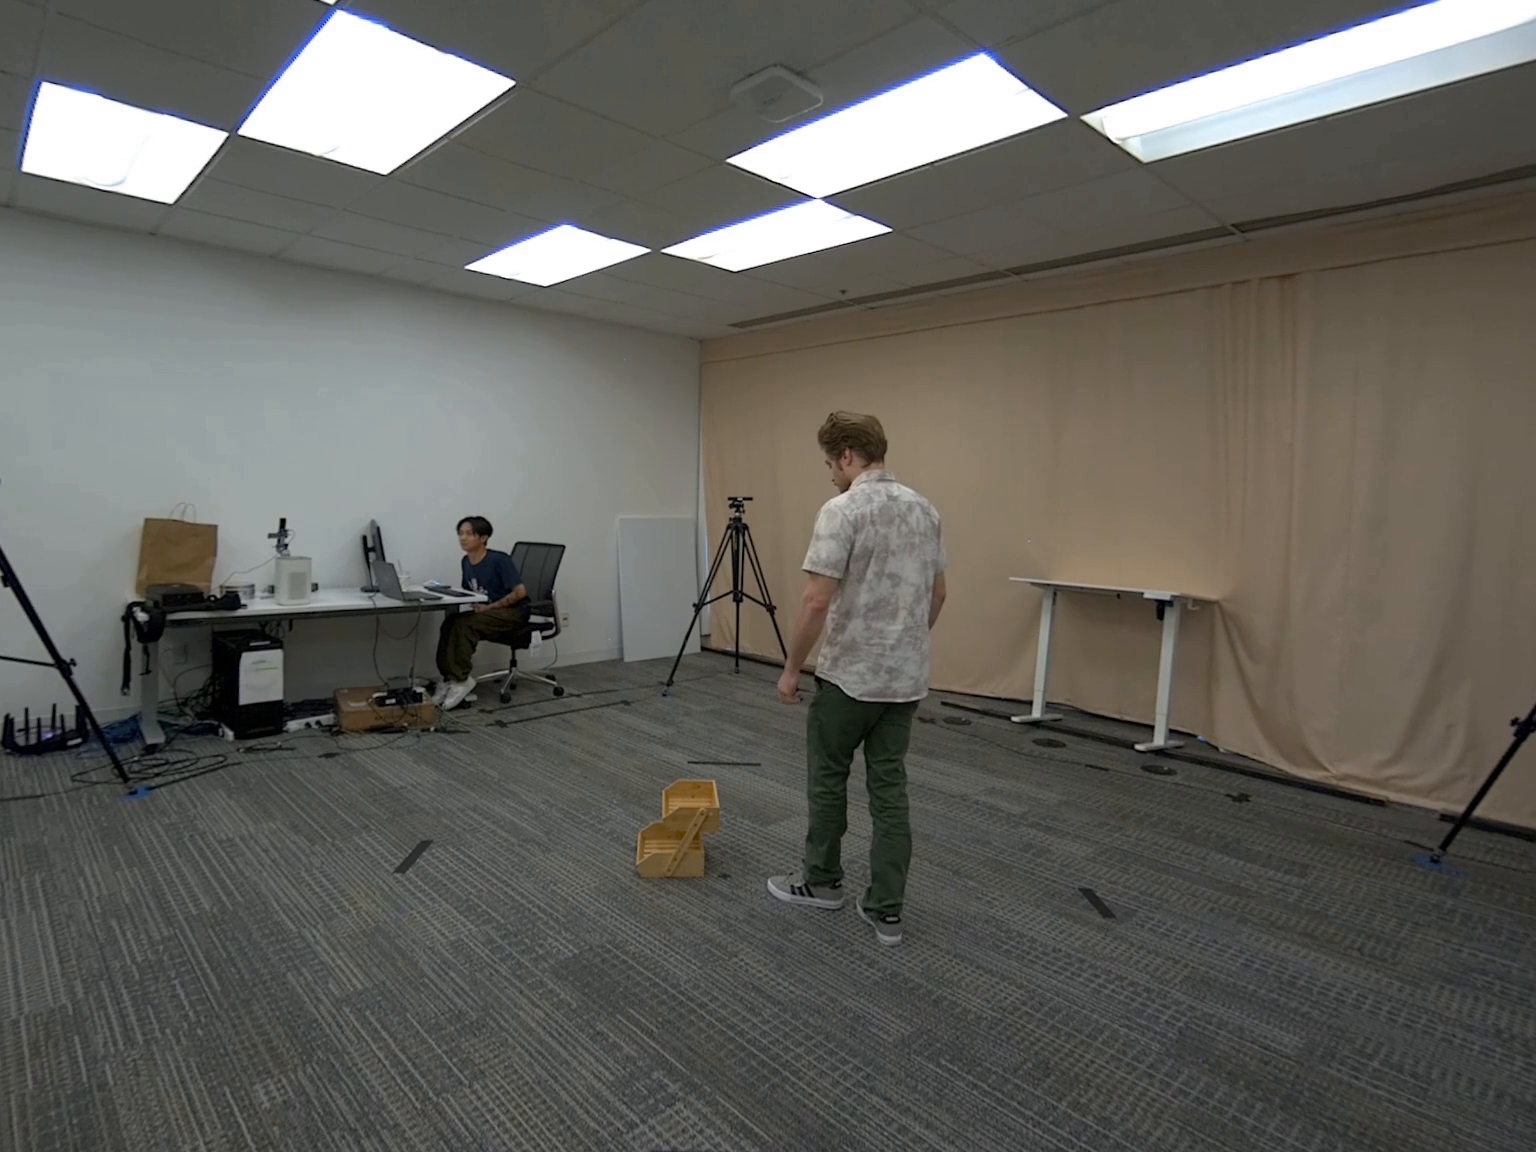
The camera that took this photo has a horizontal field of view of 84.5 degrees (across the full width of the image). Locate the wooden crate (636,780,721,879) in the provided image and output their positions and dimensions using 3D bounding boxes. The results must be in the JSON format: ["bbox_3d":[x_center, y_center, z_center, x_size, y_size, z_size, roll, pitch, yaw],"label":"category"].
[{"bbox_3d":[-0.362,0.956,3.231,0.300,0.272,0.327,1,4,-6],"label":"wooden crate"}]
